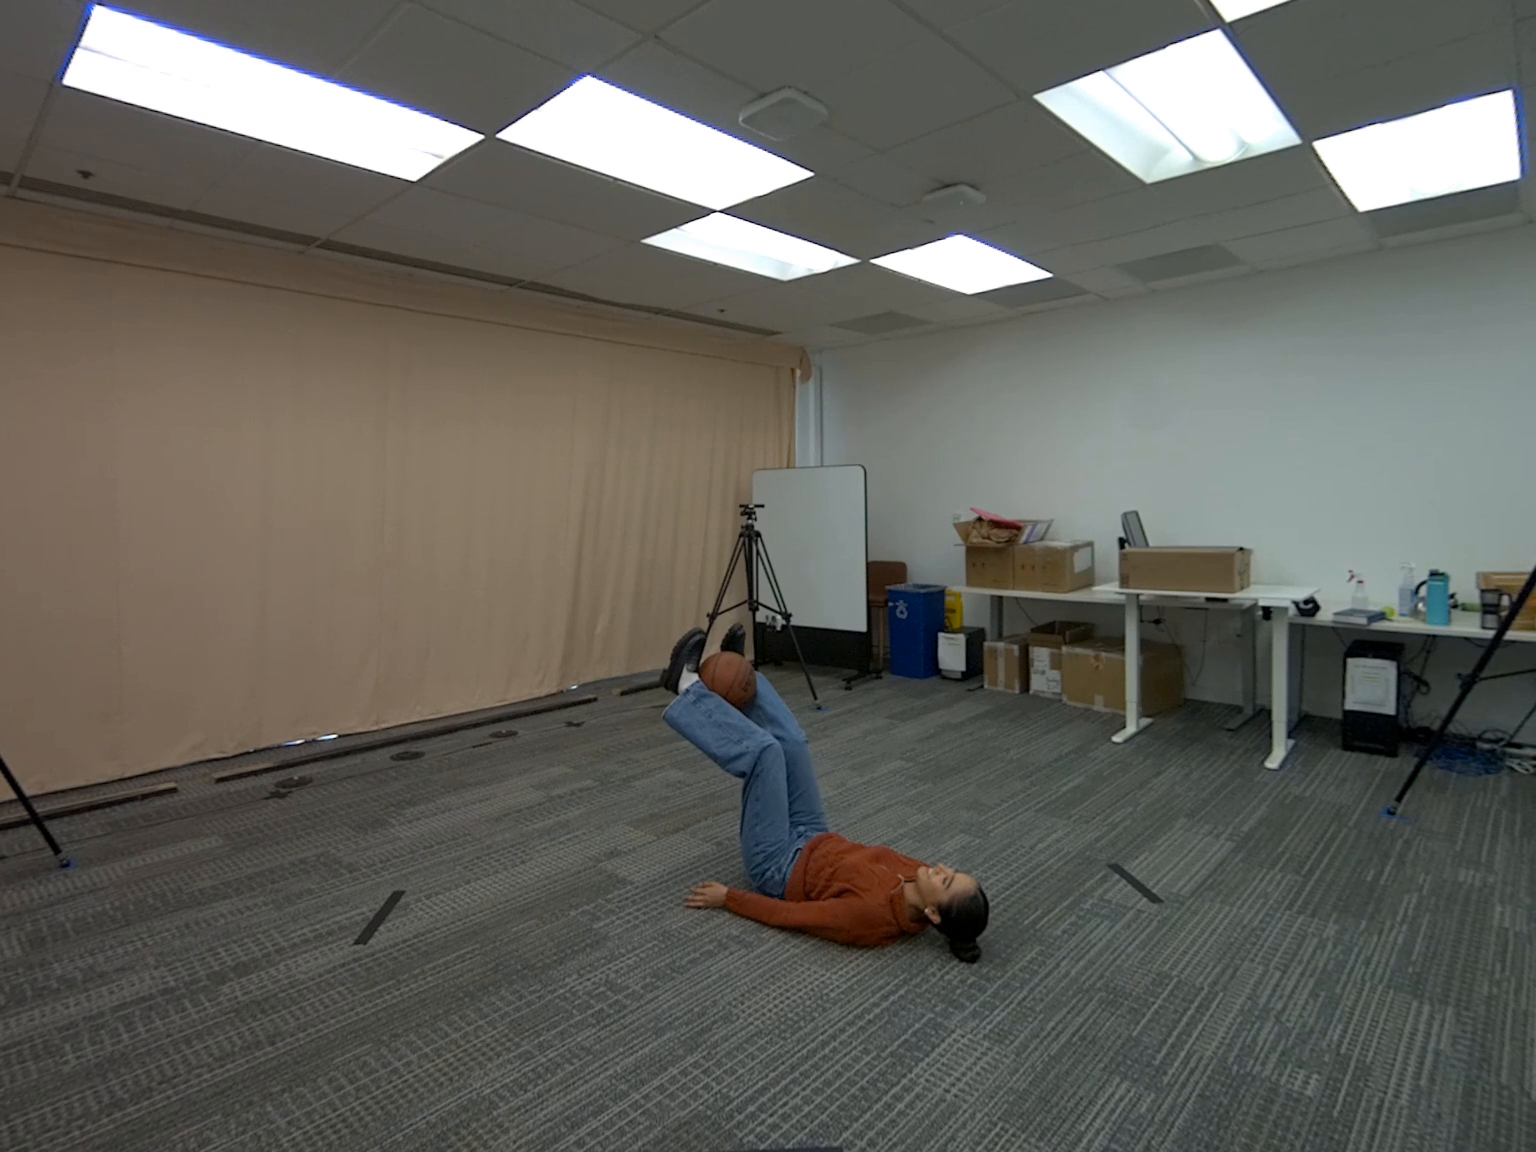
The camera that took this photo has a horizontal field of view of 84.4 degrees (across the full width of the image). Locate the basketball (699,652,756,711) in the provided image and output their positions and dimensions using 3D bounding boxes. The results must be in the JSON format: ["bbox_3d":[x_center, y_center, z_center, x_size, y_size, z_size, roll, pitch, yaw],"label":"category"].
[{"bbox_3d":[-0.161,0.411,3.236,0.236,0.235,0.237,-1,4,-2],"label":"basketball"}]
